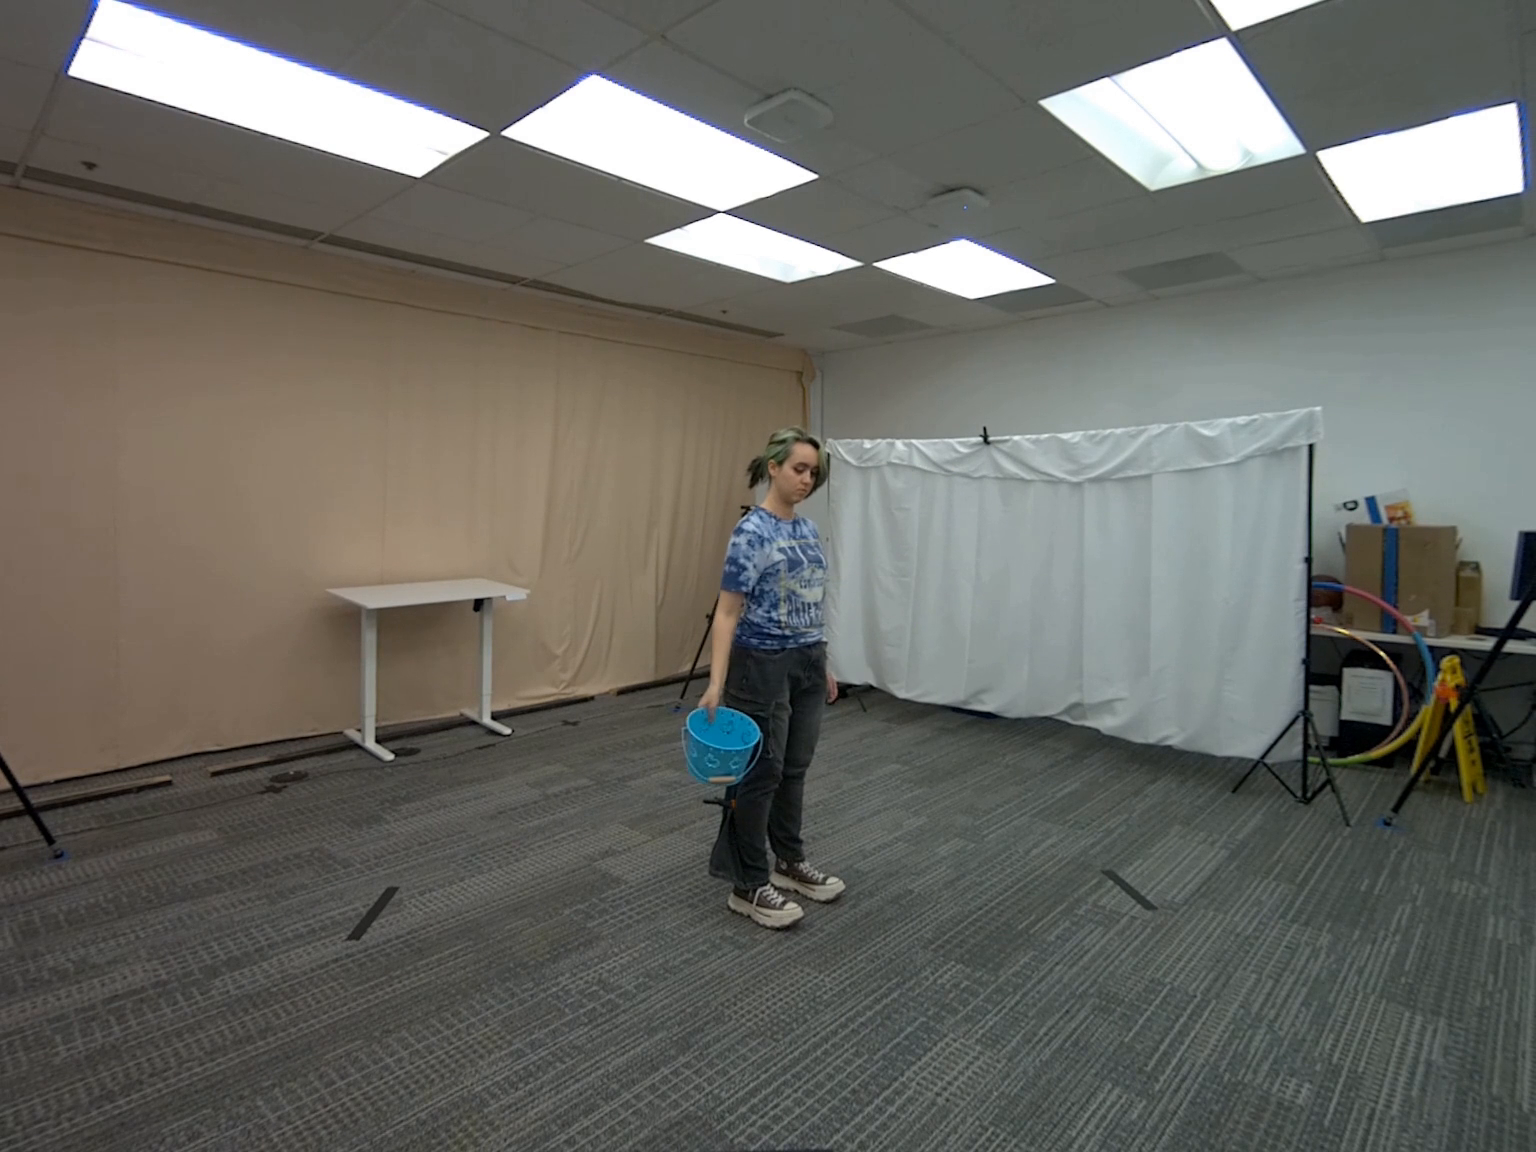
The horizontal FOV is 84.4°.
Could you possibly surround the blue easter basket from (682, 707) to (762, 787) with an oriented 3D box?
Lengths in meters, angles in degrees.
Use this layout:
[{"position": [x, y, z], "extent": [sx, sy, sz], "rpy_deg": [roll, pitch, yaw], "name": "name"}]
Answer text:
[{"position": [-0.146, 0.521, 2.597], "extent": [0.243, 0.154, 0.246], "rpy_deg": [7, 19, -4], "name": "blue easter basket"}]
